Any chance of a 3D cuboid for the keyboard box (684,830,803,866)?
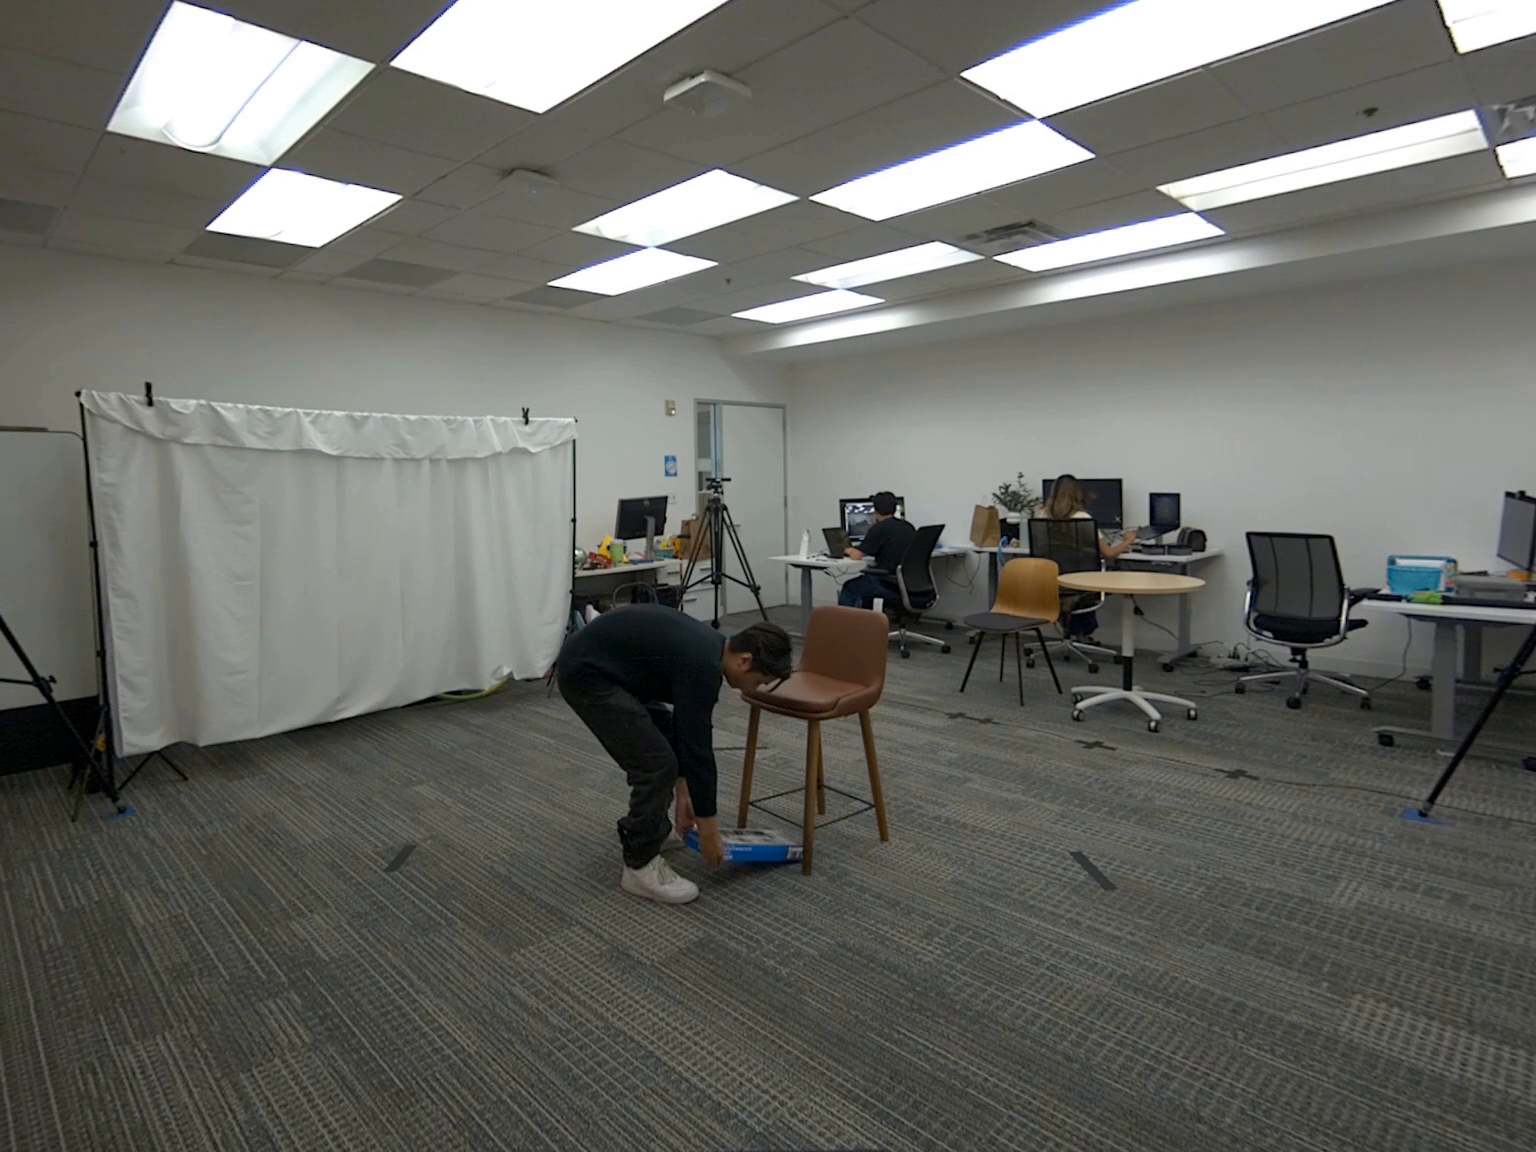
[{"bbox_3d":[-0.073,0.961,3.065,0.423,0.059,0.181,13,-4,-35],"label":"keyboard box"}]
